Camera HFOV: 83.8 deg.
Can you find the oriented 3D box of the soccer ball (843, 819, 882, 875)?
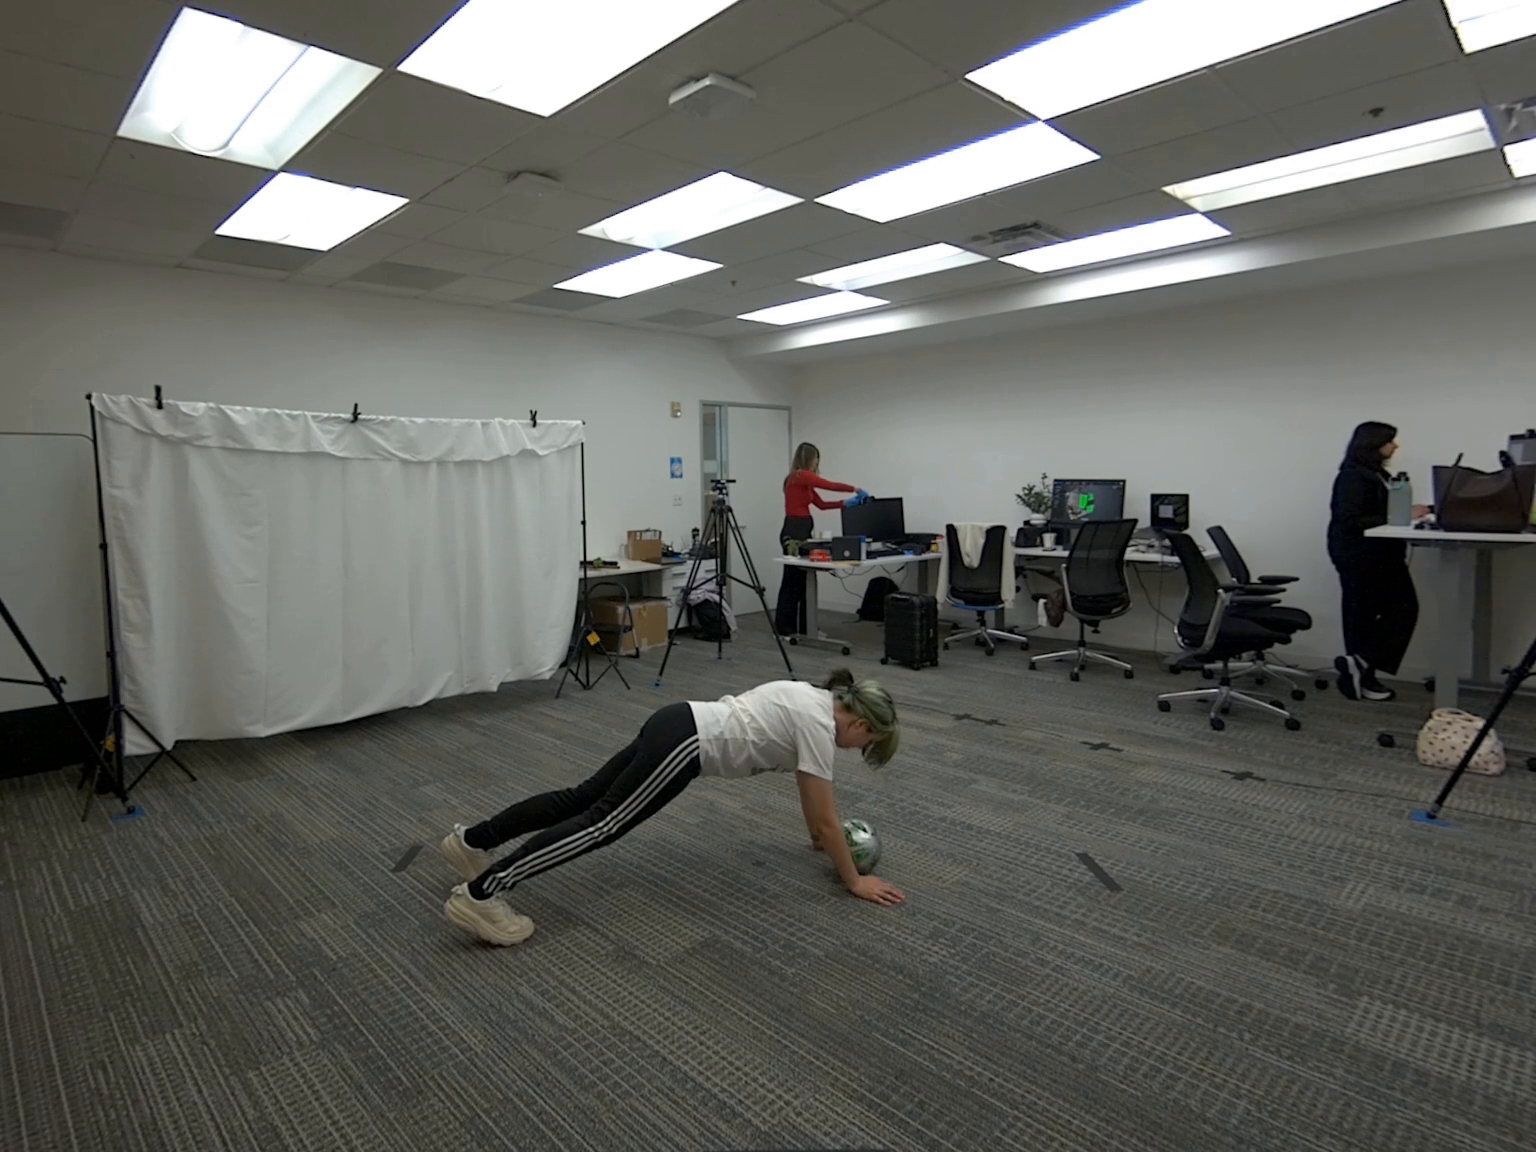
[{"bbox_3d":[0.305,0.956,3.016,0.187,0.187,0.188,-1,5,-2],"label":"soccer ball"}]
